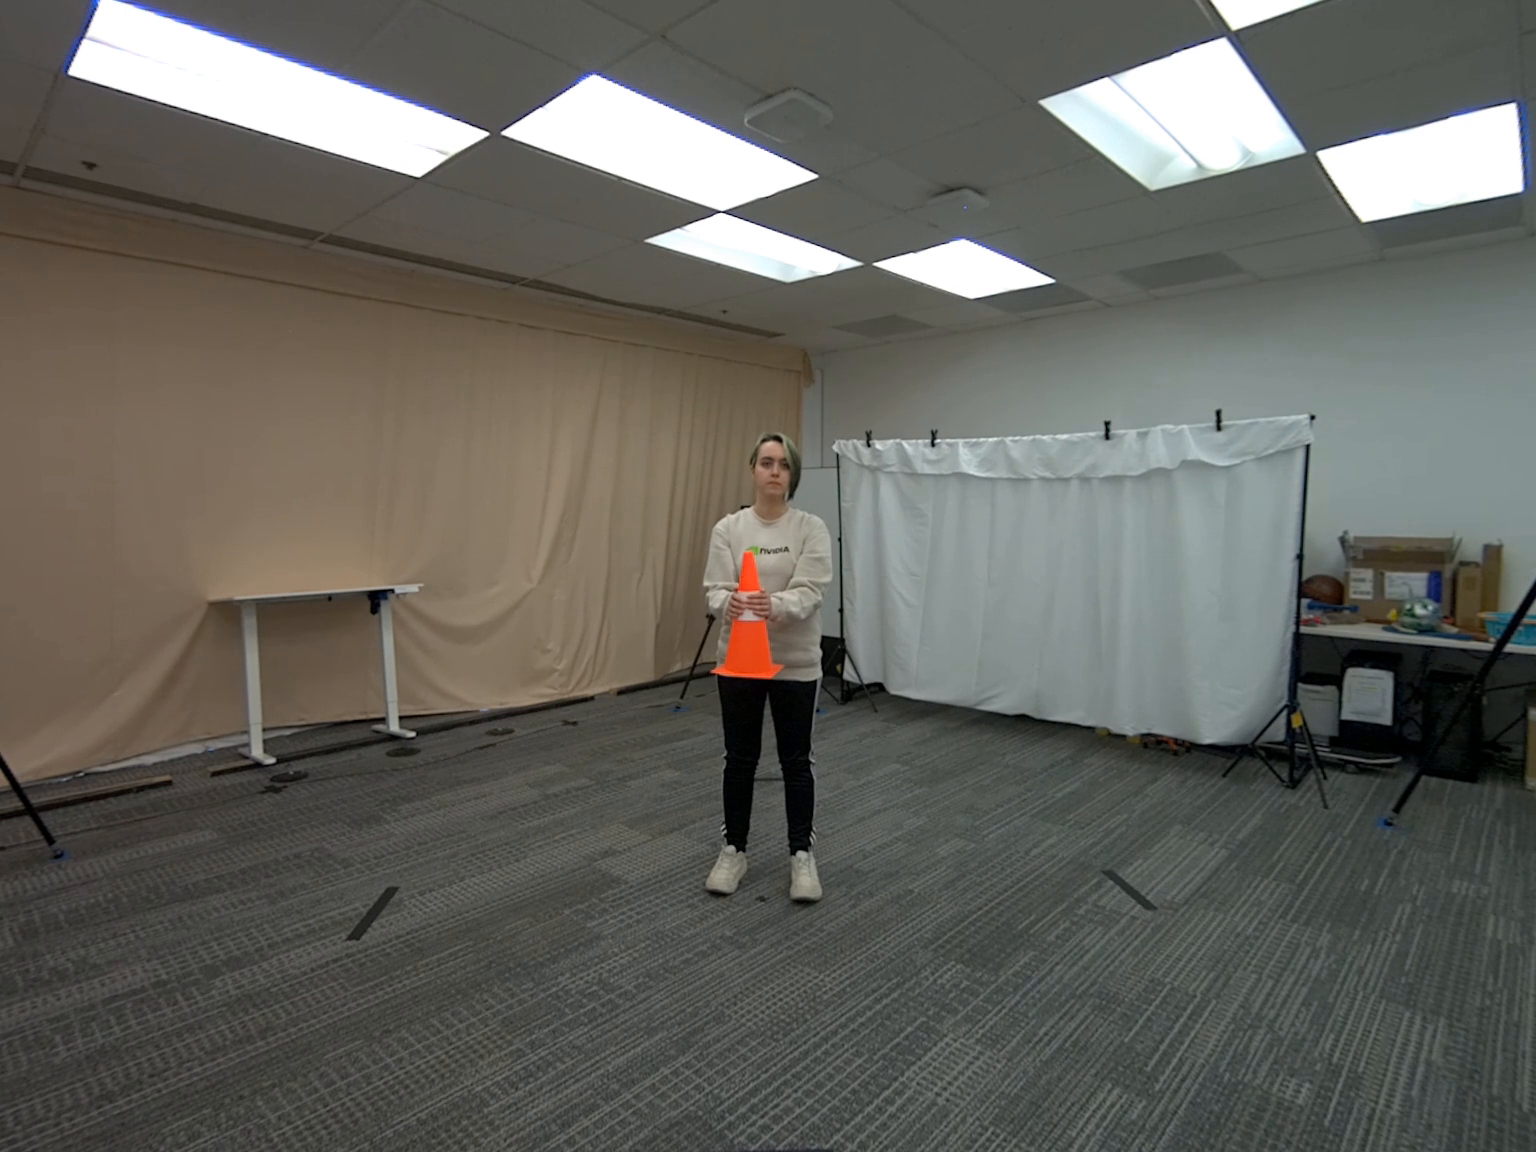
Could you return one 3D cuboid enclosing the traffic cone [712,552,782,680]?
[{"bbox_3d":[-0.061,0.116,2.701,0.209,0.382,0.200,3,5,17],"label":"traffic cone"}]
